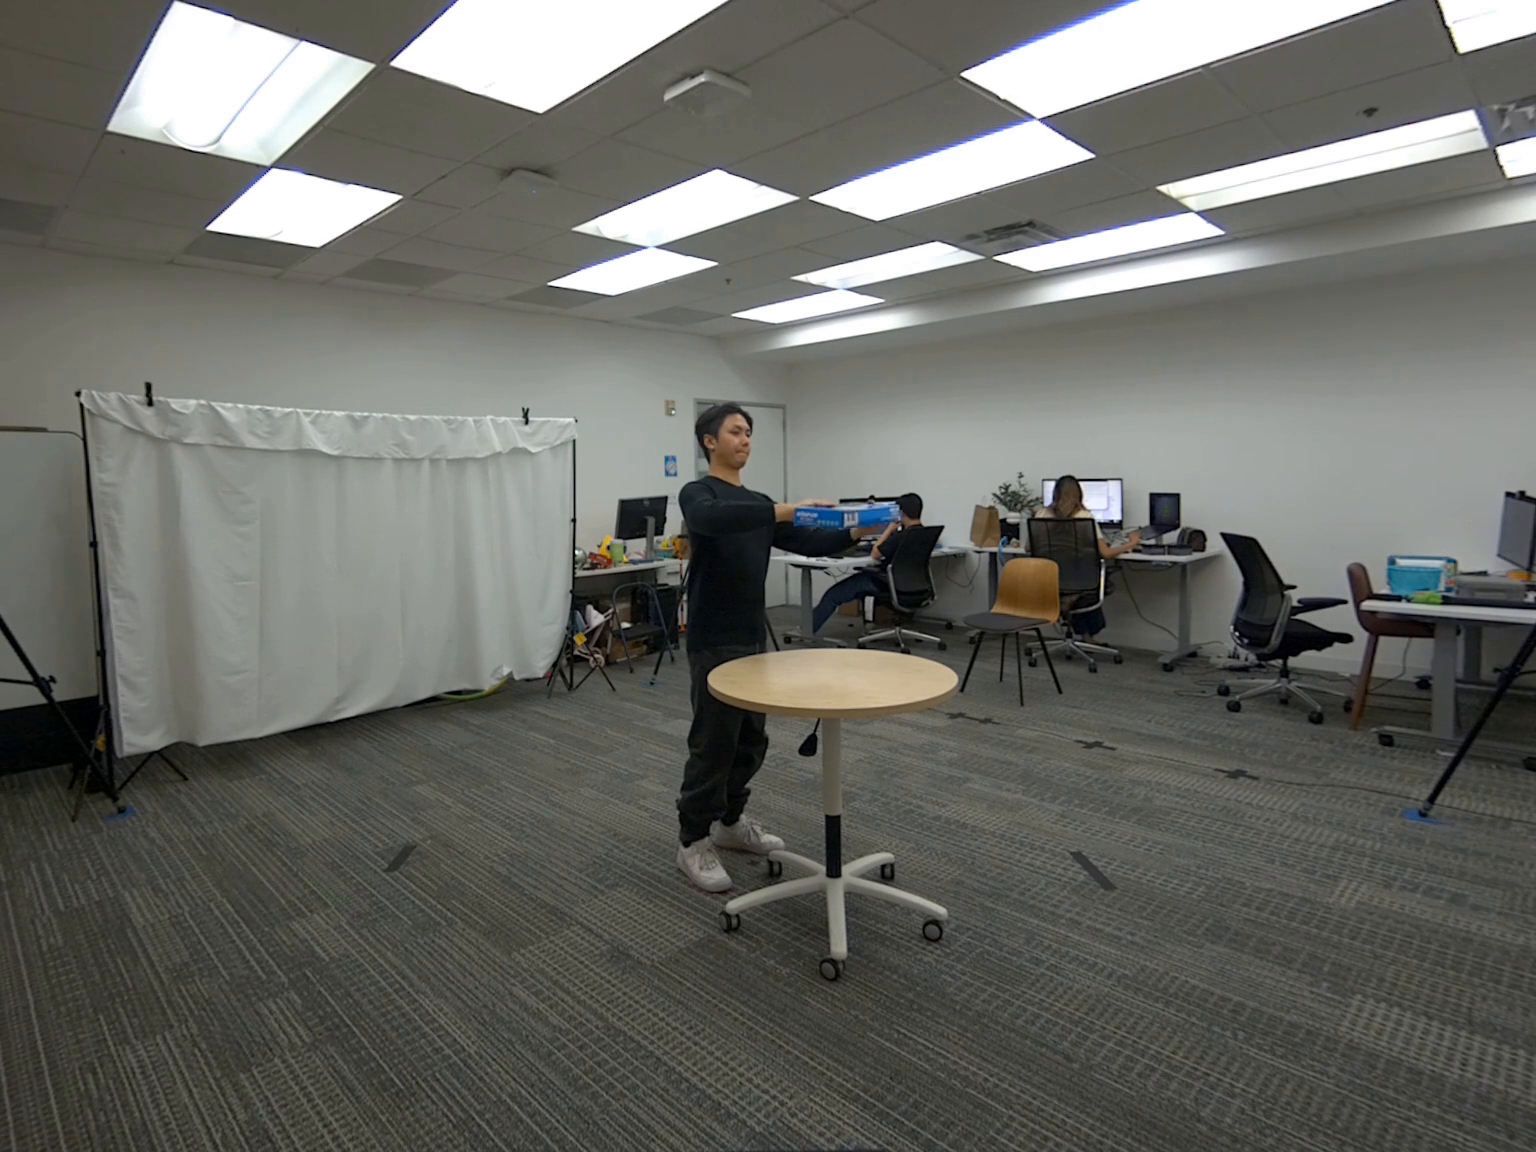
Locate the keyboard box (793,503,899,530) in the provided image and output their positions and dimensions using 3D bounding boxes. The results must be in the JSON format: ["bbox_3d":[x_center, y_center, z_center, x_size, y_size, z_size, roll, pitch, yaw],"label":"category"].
[{"bbox_3d":[0.260,-0.205,2.809,0.181,0.059,0.426,7,10,34],"label":"keyboard box"}]
